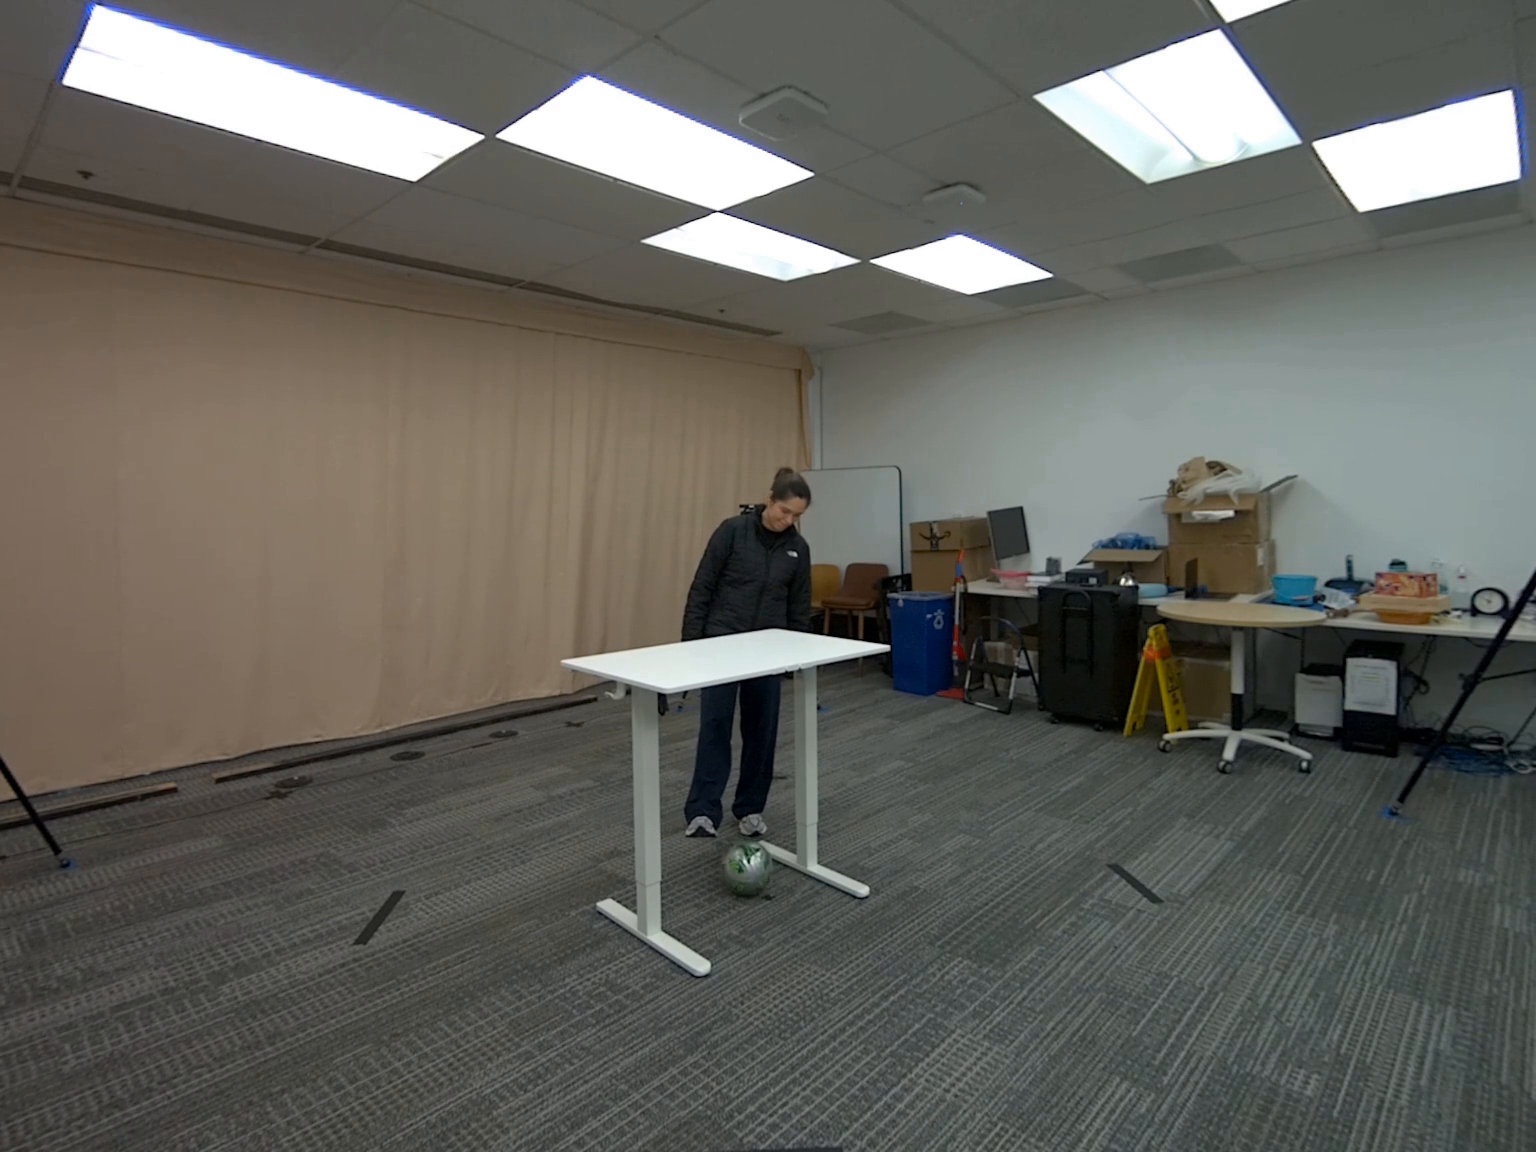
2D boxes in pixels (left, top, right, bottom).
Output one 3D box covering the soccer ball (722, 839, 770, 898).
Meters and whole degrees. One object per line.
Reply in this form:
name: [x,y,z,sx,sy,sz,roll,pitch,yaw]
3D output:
soccer ball: [-0.076,1.035,3.020,0.187,0.187,0.188,-1,4,-2]
